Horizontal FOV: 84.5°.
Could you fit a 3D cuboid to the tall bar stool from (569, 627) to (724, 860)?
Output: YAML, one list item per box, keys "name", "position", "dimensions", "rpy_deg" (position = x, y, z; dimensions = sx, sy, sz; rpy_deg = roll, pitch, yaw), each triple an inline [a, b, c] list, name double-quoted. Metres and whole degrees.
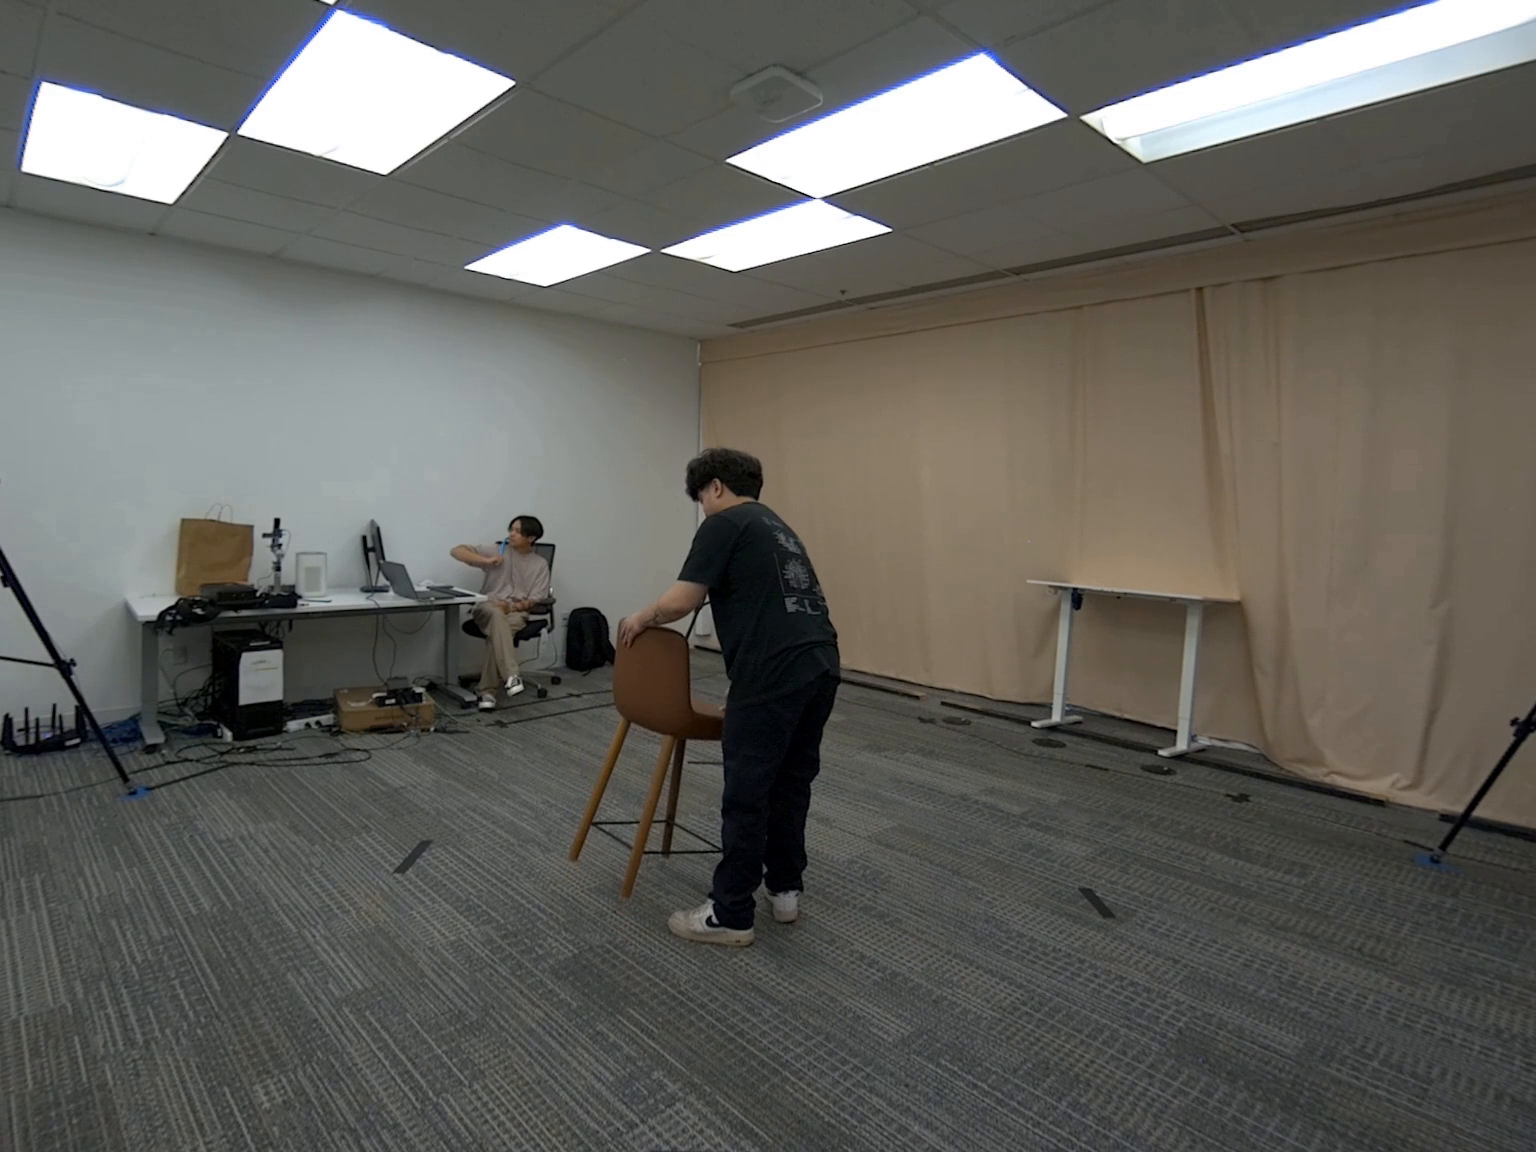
- name: "tall bar stool"
  position: [-0.353, 0.634, 3.011]
  dimensions: [0.455, 0.892, 0.468]
  rpy_deg: [13, -5, -40]
